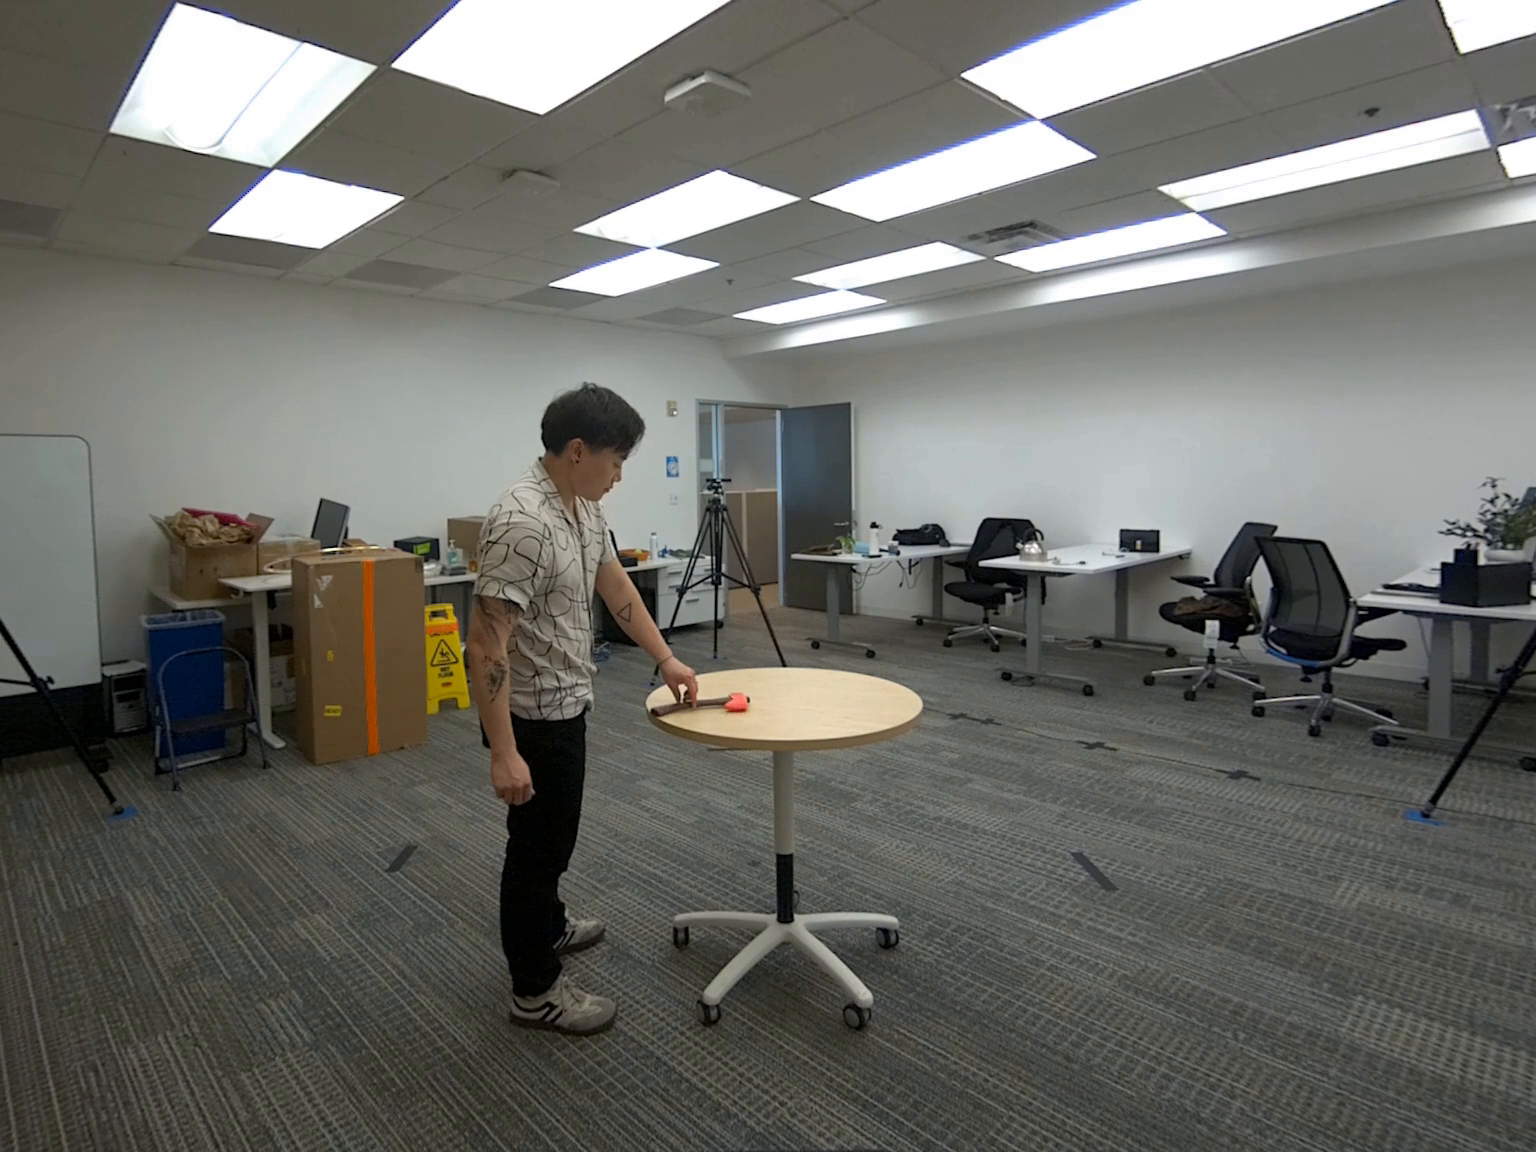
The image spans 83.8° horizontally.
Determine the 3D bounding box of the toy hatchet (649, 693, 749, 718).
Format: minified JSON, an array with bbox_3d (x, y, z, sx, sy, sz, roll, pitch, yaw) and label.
[{"bbox_3d":[-0.157,0.345,2.266,0.264,0.029,0.135,-5,9,-30],"label":"toy hatchet"}]
